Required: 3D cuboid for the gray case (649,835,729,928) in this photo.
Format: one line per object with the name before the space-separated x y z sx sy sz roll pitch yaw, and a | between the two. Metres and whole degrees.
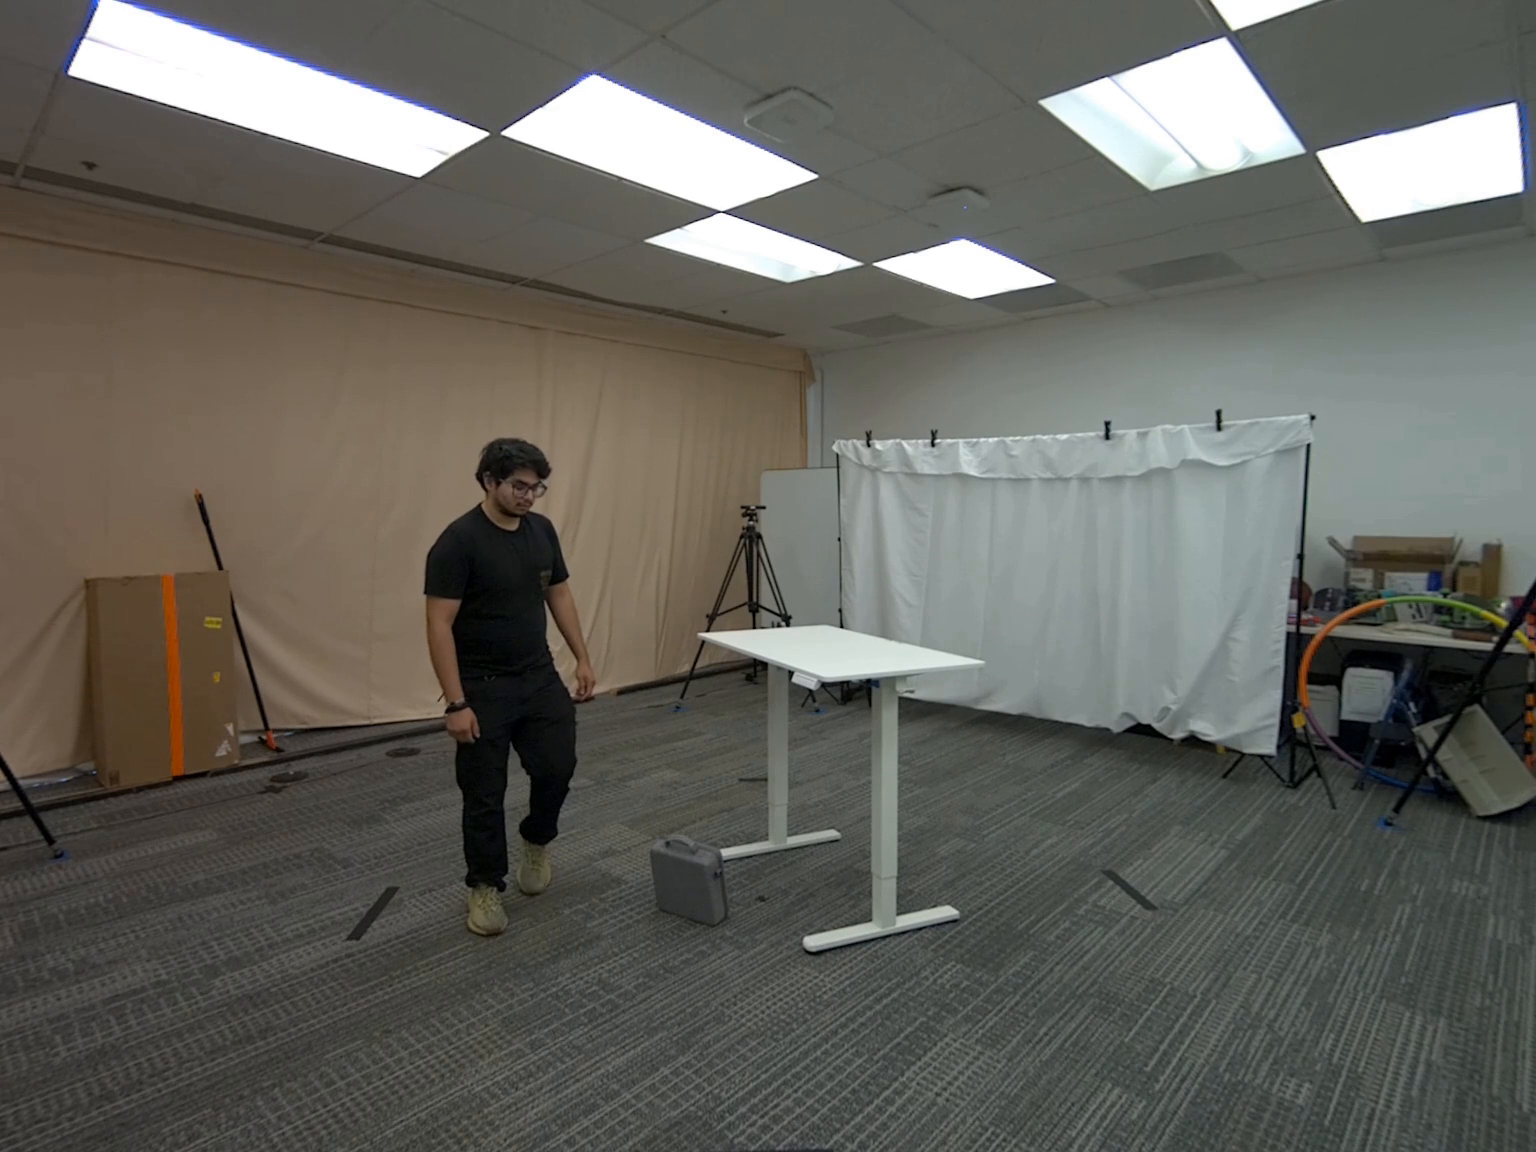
gray case | -0.263 1.029 2.841 0.265 0.258 0.102 2 15 33
